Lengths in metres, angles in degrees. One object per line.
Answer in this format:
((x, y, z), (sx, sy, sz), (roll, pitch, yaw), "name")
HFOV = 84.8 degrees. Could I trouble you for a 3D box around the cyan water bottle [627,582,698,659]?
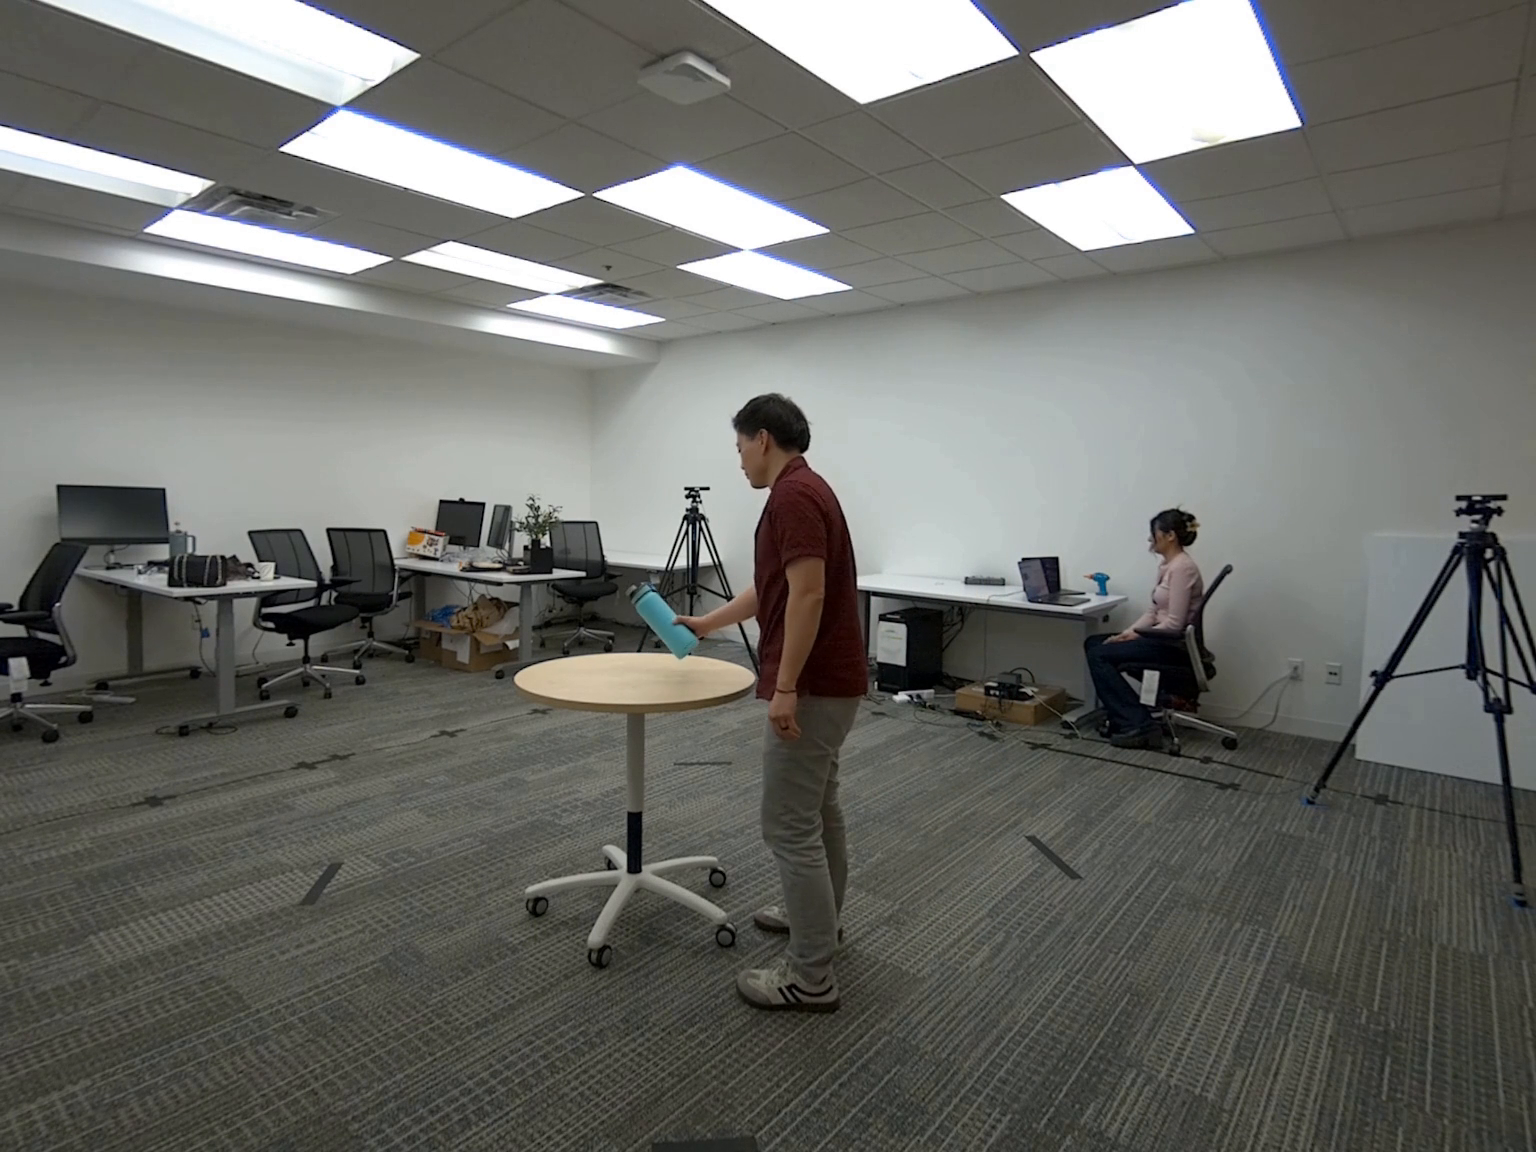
((-0.357, 0.141, 2.777), (0.092, 0.288, 0.091), (-40, -12, -11), "cyan water bottle")
